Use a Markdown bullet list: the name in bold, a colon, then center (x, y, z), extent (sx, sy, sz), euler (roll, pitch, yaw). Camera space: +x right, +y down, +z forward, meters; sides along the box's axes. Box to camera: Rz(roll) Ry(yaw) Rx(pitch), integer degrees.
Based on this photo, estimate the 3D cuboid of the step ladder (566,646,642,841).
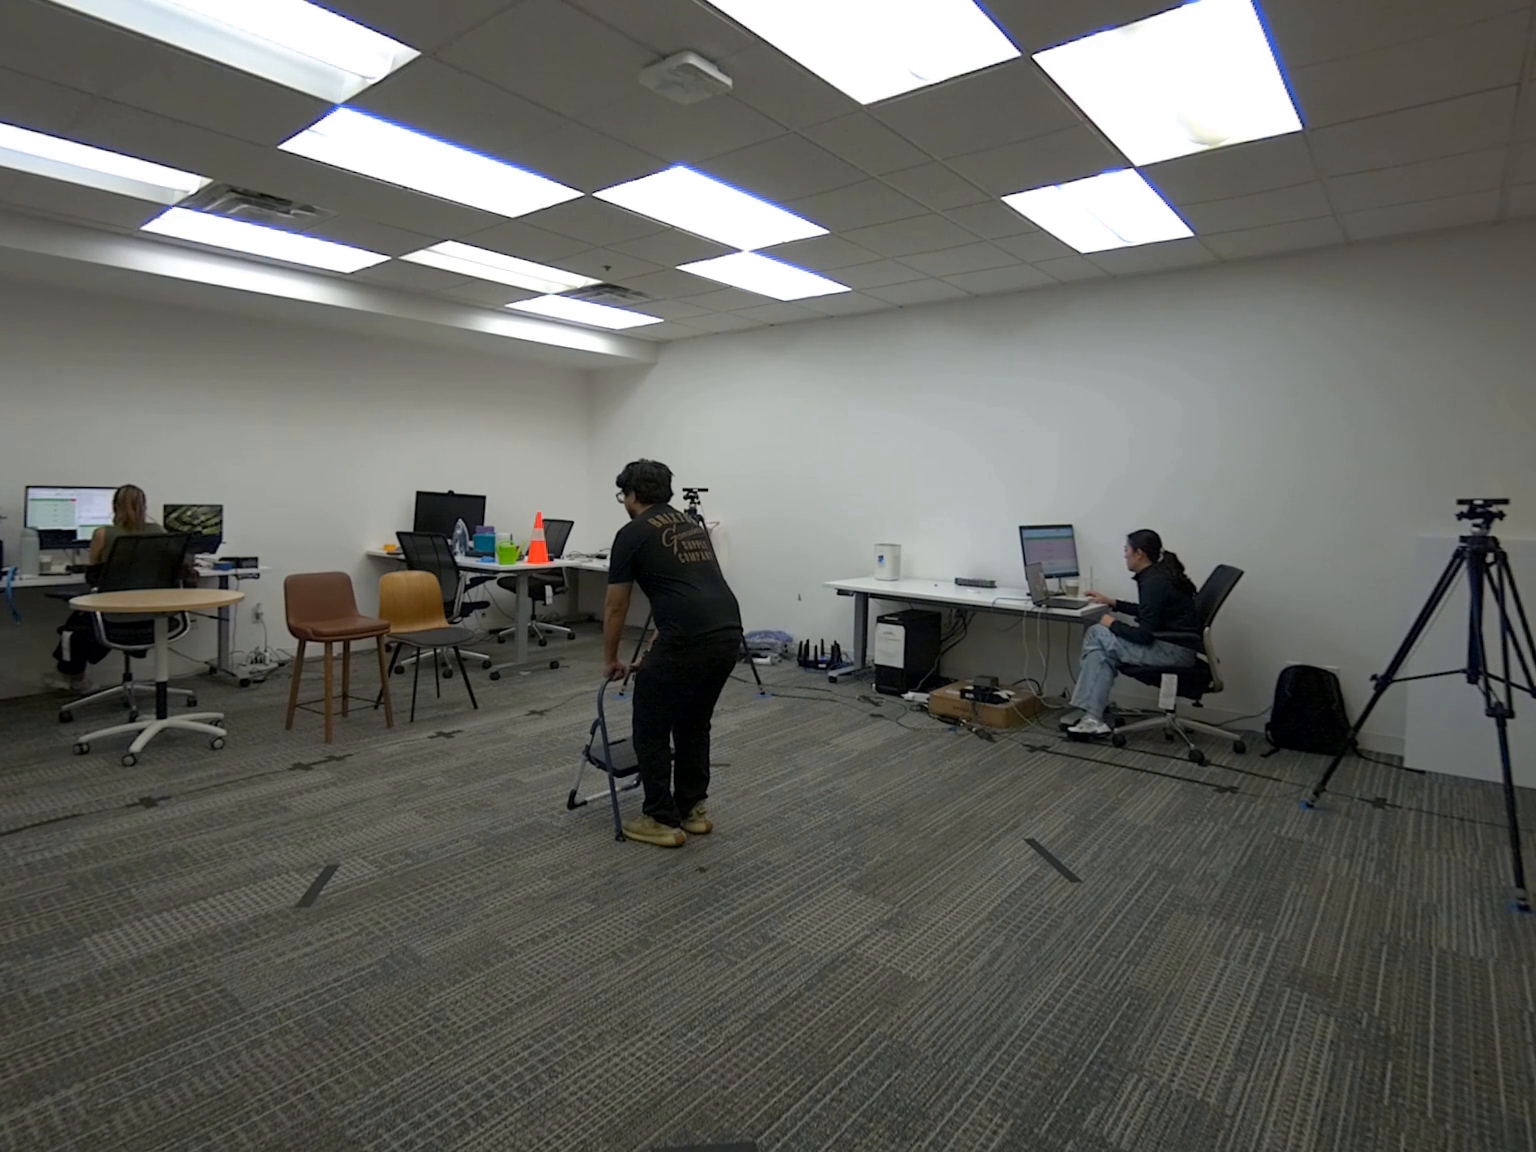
- **step ladder**: center (-0.574, 0.697, 3.583), extent (0.362, 0.603, 0.418), euler (11, 9, 37)
